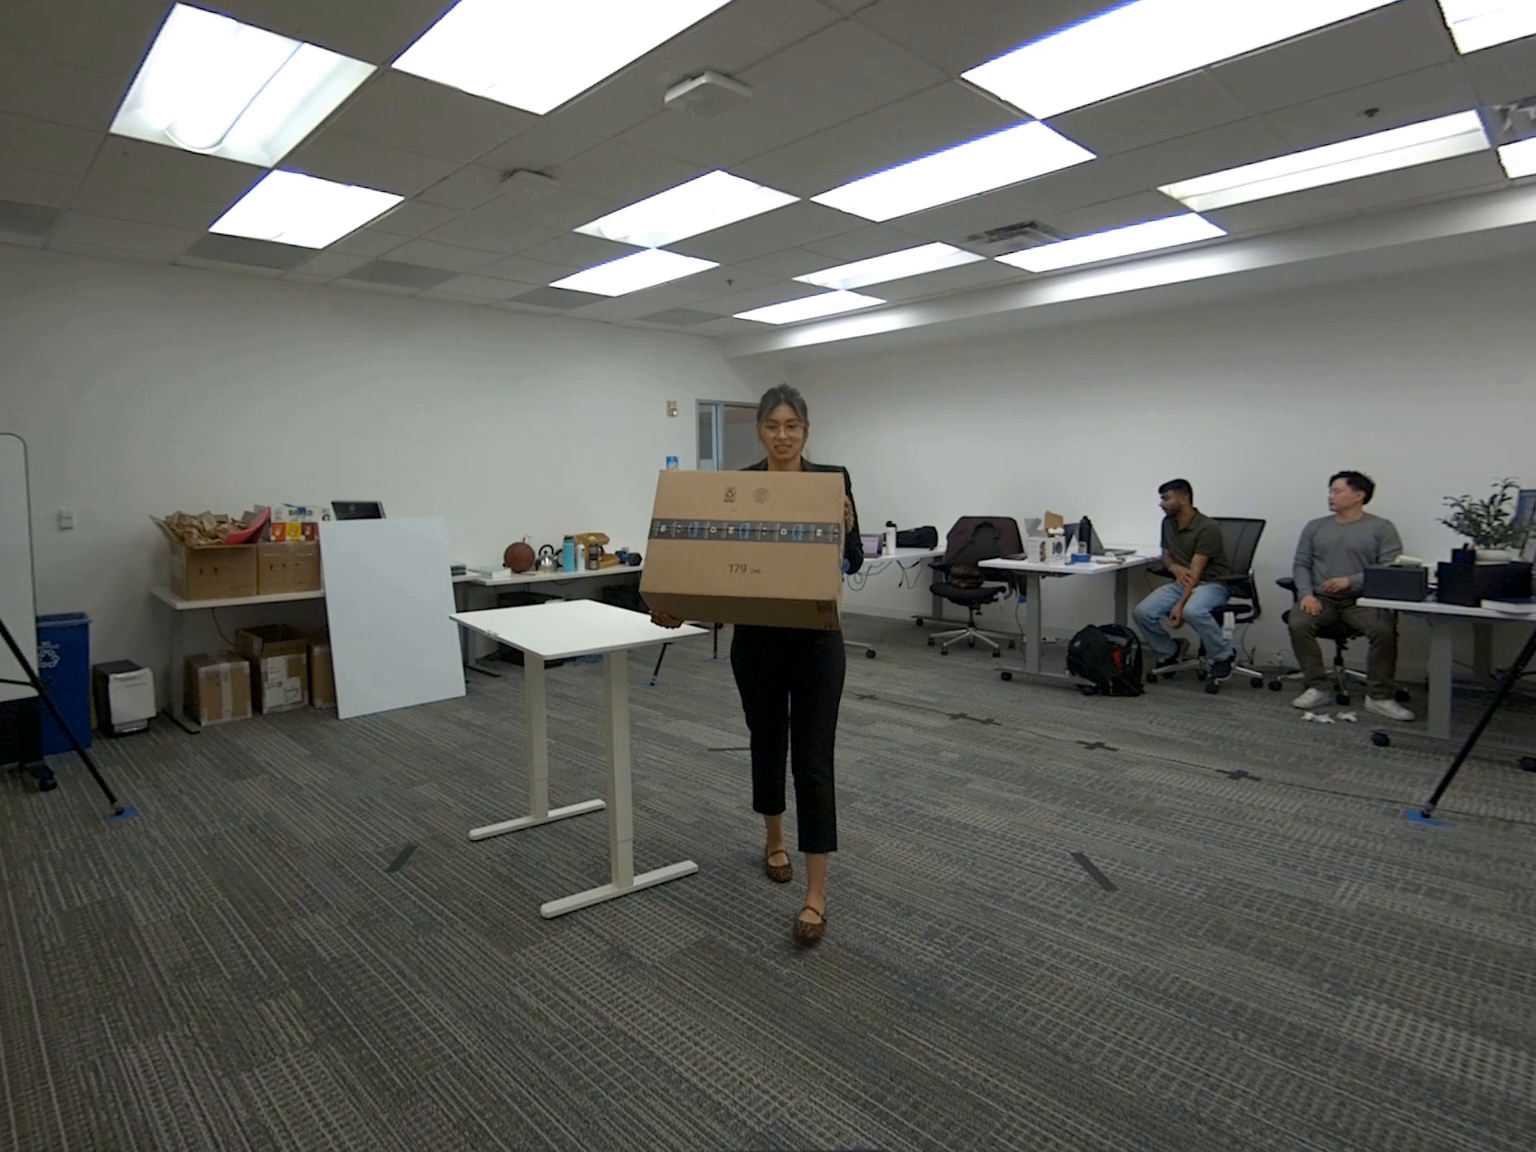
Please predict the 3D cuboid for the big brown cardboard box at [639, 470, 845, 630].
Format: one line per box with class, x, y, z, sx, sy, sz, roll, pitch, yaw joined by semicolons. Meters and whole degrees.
big brown cardboard box;-0.057;-0.090;2.583;0.595;0.425;0.226;2;-26;10
